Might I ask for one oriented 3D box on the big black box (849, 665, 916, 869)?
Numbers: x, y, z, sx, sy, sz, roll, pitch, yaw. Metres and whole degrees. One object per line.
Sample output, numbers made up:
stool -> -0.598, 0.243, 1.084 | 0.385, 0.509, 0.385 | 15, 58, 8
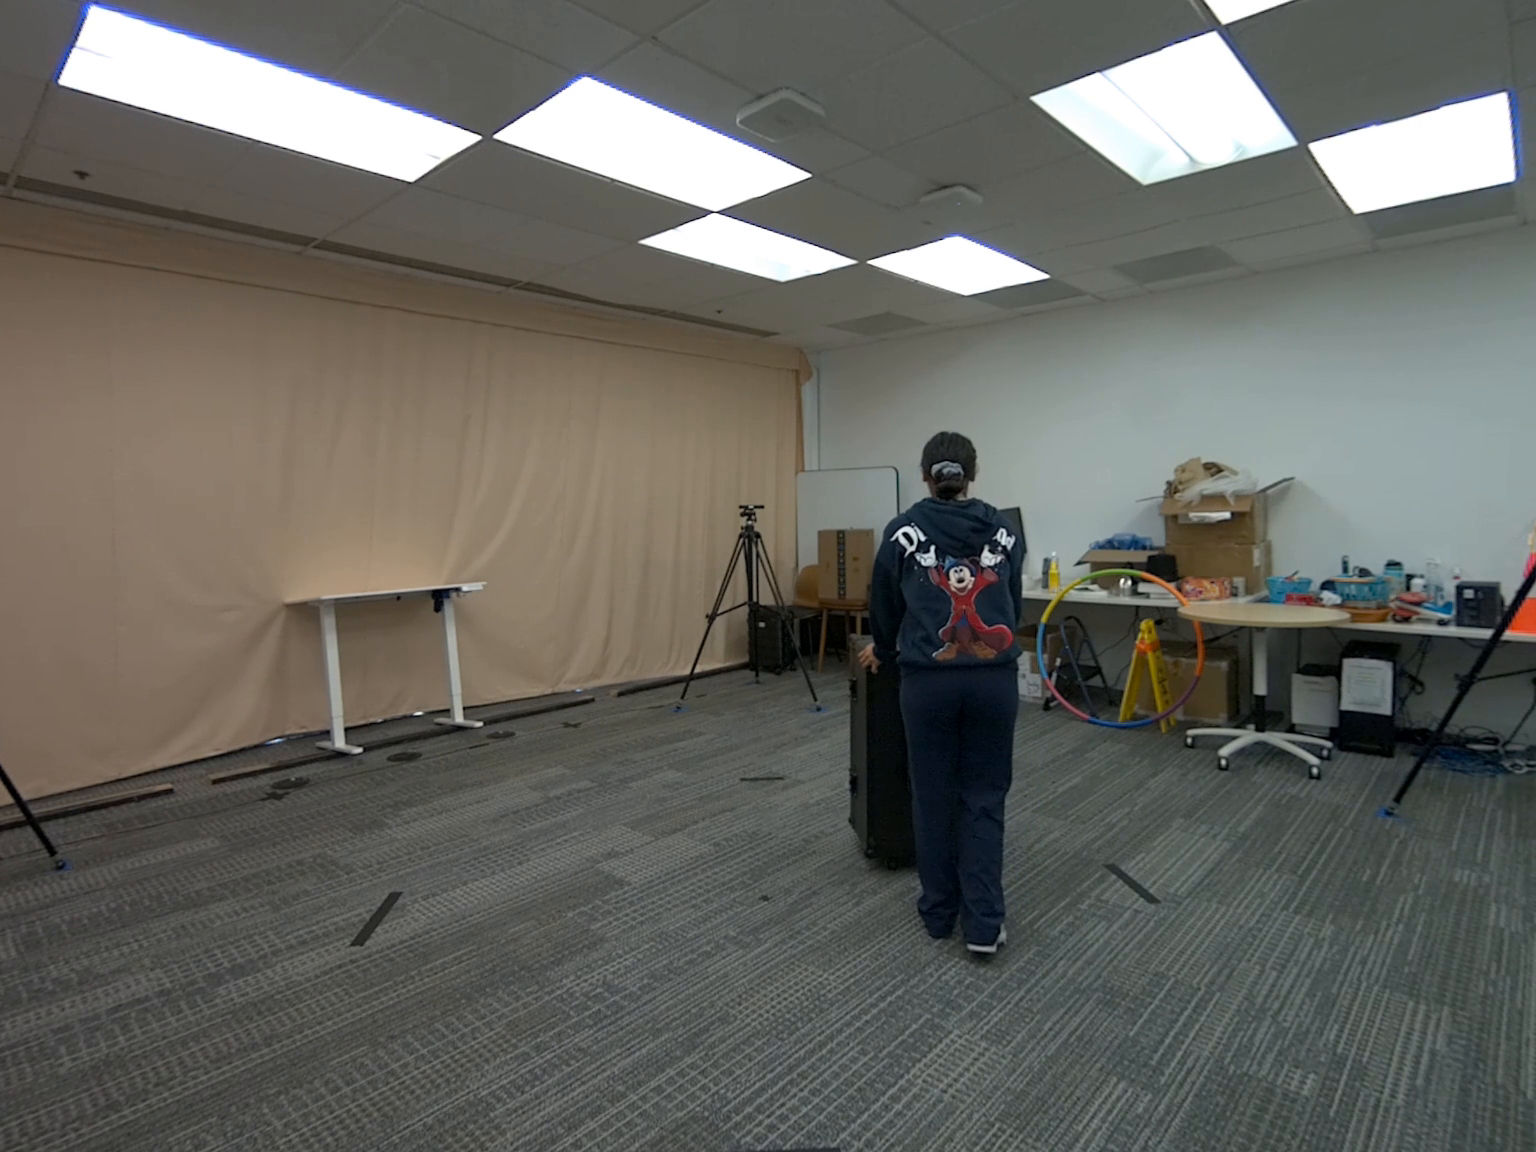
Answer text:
big black box -> 0.601, 0.680, 3.281 | 0.521, 0.859, 0.398 | 0, 4, -1
